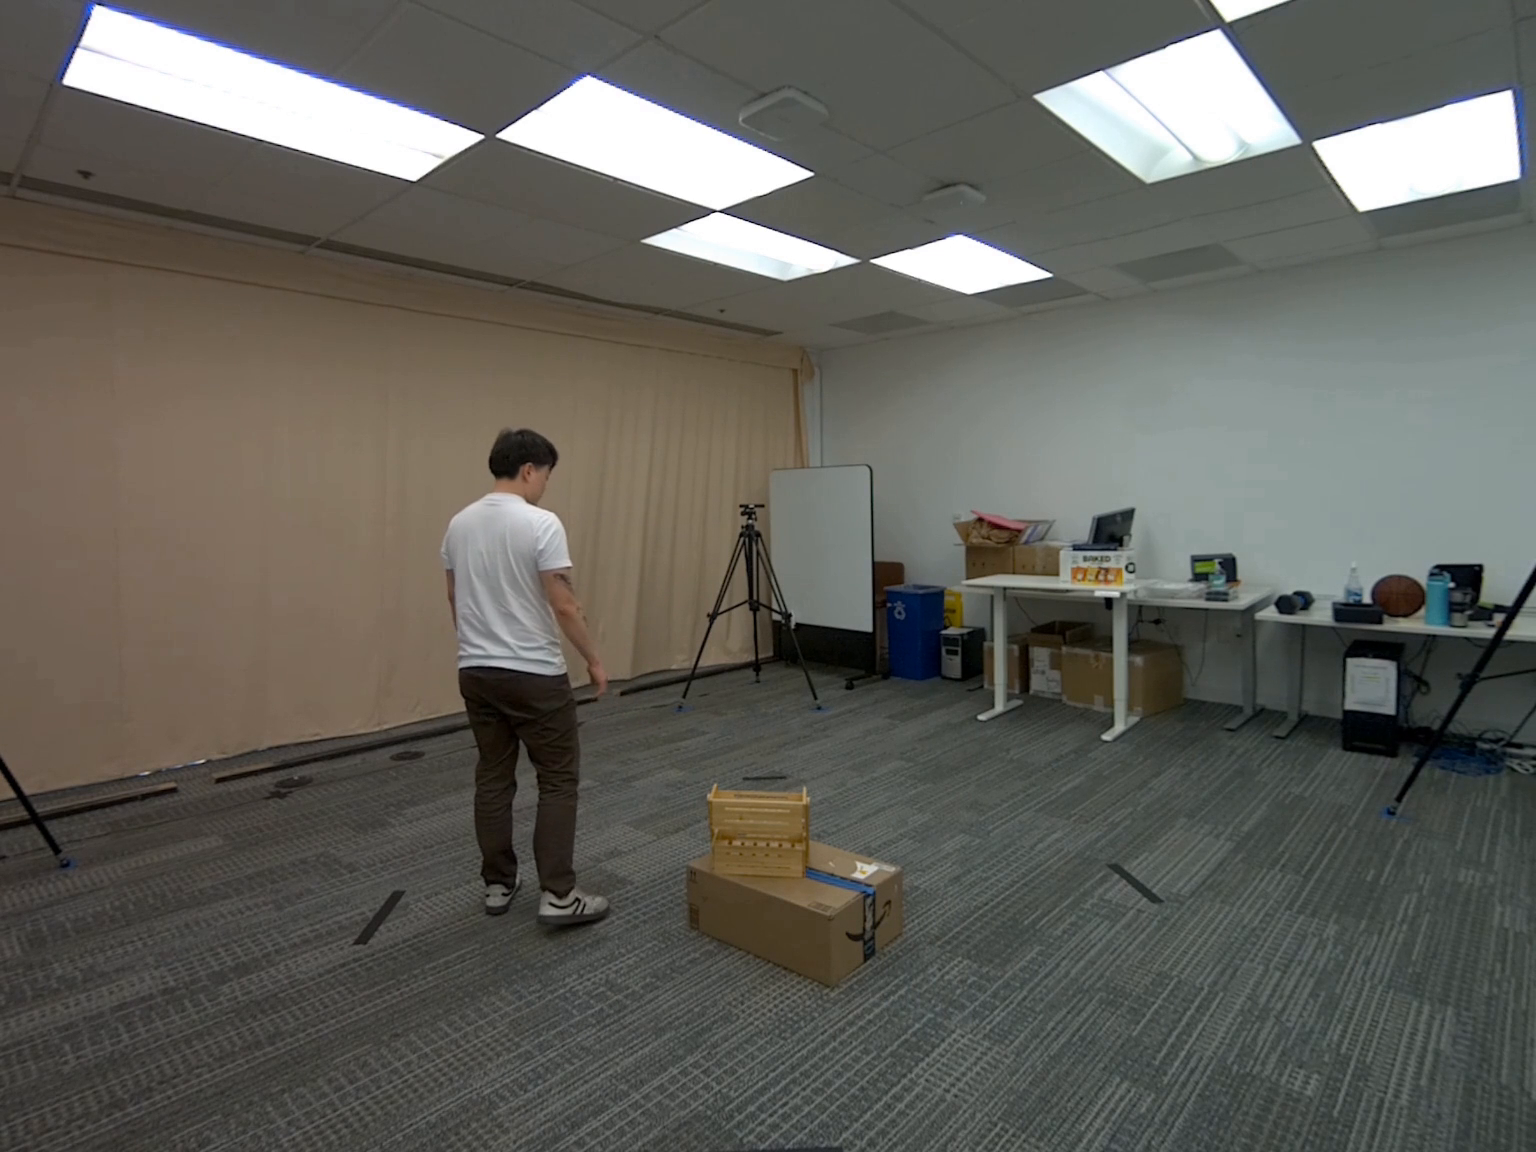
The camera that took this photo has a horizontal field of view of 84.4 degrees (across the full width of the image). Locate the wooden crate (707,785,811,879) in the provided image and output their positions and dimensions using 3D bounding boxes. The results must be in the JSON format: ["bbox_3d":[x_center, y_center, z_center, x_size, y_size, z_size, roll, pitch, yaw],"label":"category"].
[{"bbox_3d":[-0.021,0.807,2.770,0.327,0.272,0.301,1,5,5],"label":"wooden crate"}]
